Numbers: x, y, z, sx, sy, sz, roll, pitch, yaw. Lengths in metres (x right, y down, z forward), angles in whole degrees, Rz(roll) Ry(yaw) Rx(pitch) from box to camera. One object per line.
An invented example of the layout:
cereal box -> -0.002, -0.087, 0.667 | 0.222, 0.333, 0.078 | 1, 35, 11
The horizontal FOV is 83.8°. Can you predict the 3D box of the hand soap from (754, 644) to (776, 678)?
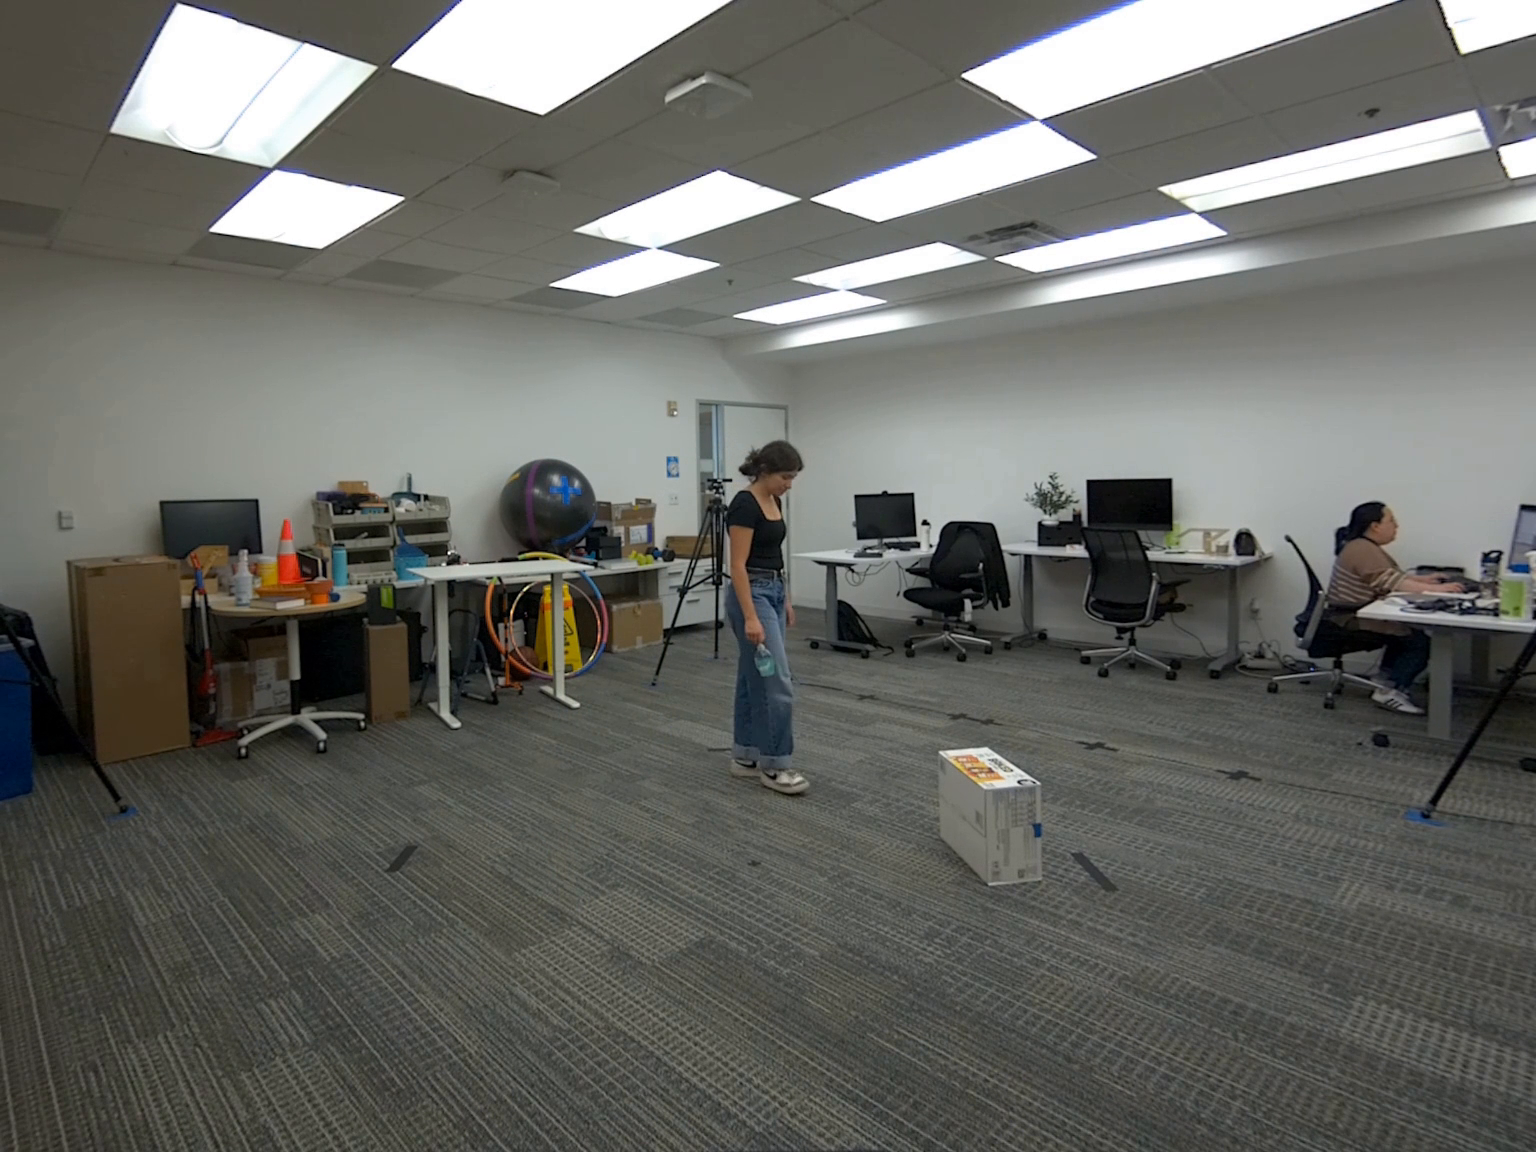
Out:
hand soap -> -0.025, 0.342, 3.687 | 0.086, 0.168, 0.043 | -13, 3, 18
